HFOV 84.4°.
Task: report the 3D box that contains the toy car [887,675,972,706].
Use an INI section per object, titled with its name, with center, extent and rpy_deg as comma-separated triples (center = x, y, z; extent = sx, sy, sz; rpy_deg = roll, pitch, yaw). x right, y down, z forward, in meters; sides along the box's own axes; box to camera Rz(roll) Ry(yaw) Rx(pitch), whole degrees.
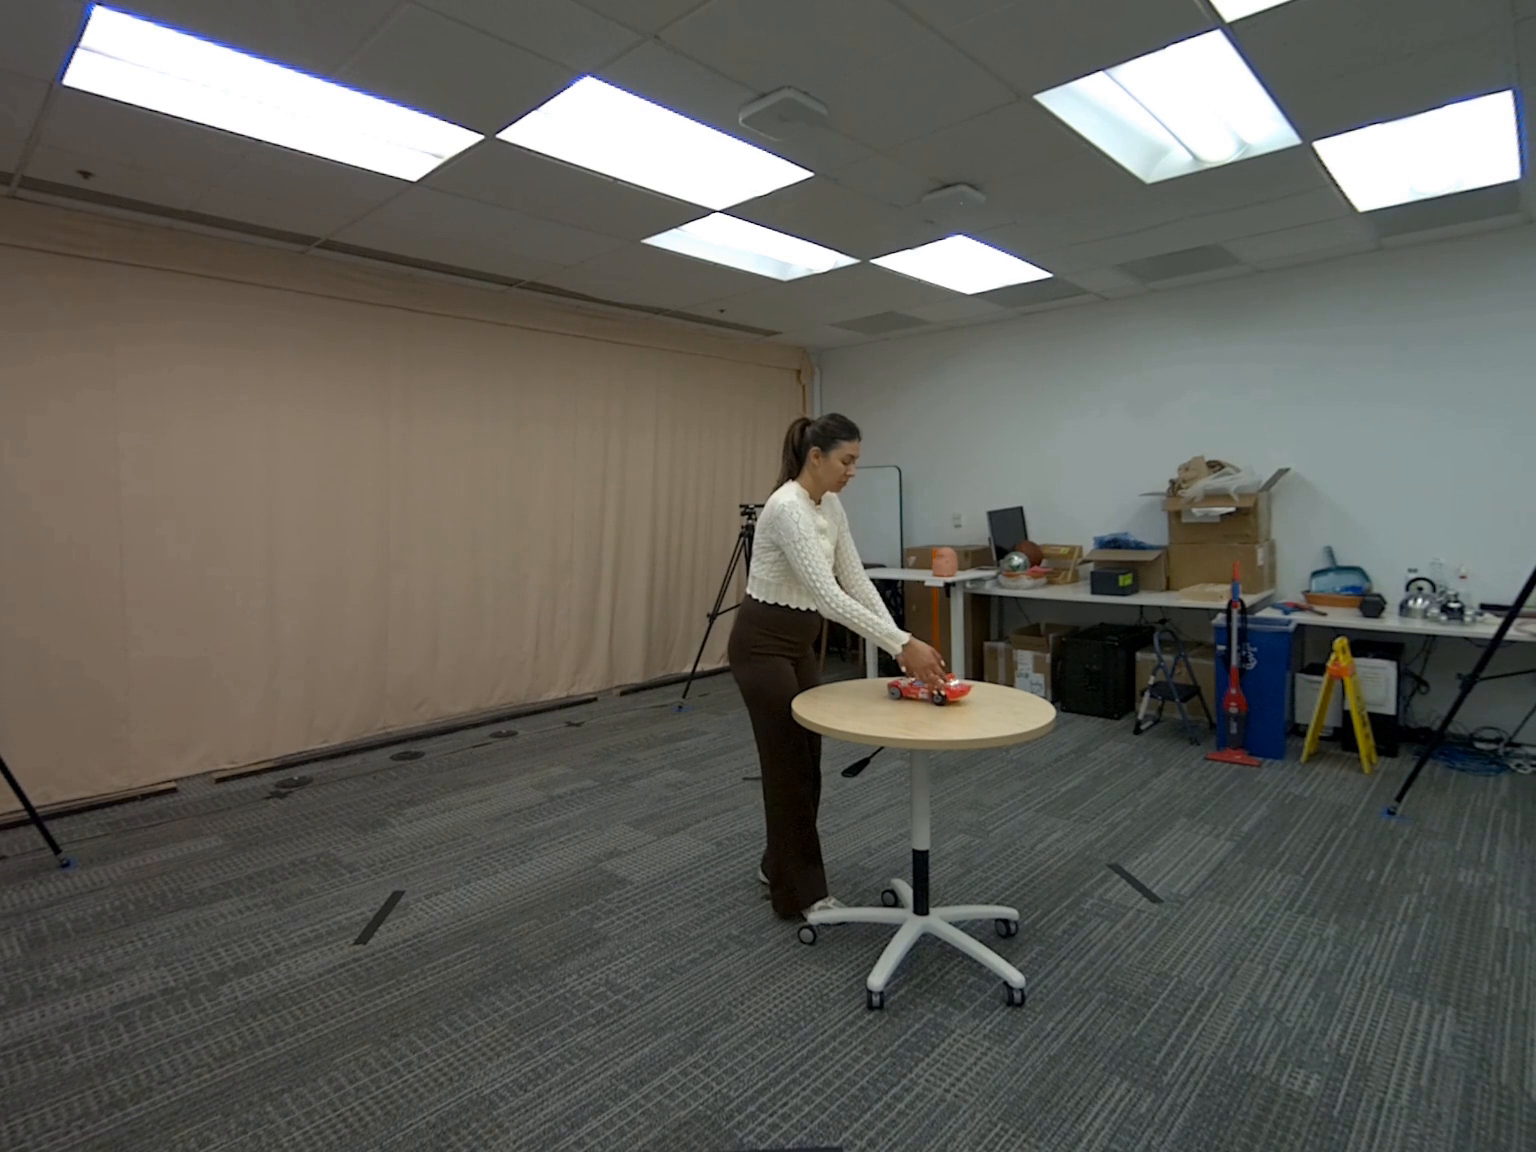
[toy car]
center = 0.508, 0.352, 2.566
extent = 0.261, 0.083, 0.126
rpy_deg = -10, -1, 37
